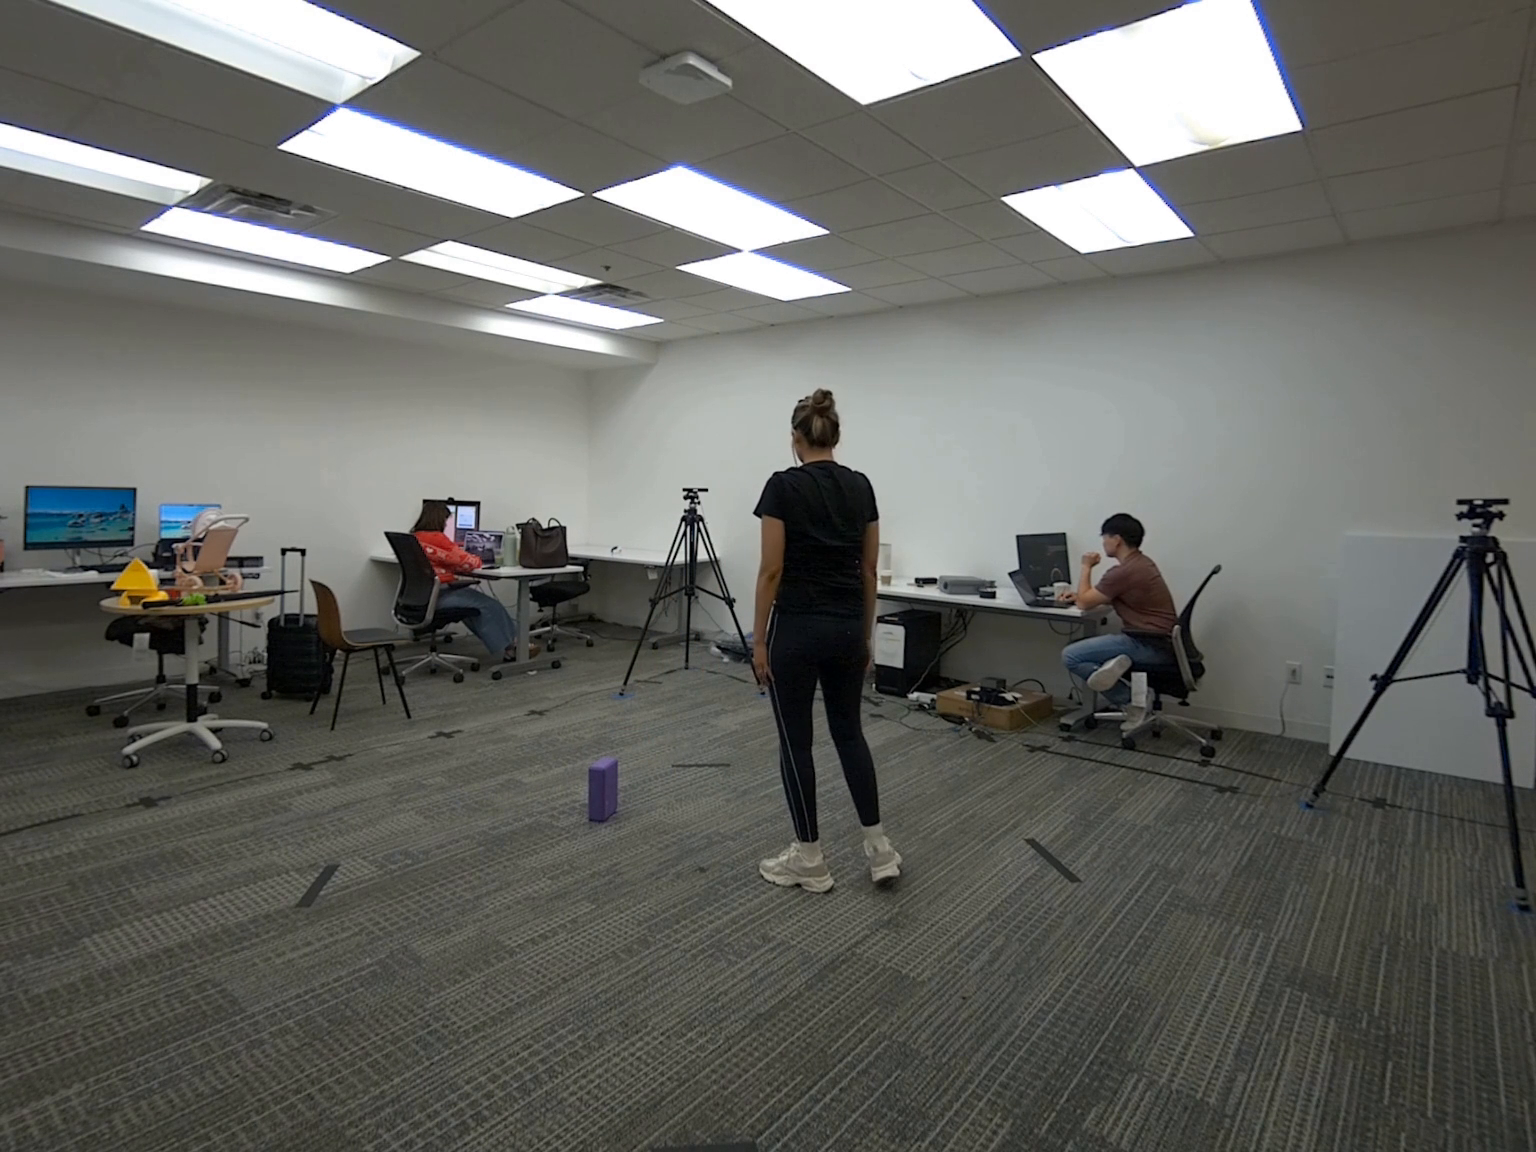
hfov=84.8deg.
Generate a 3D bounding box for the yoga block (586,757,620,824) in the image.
[{"bbox_3d":[-0.713,0.900,3.607,0.078,0.229,0.147,0,3,15],"label":"yoga block"}]
